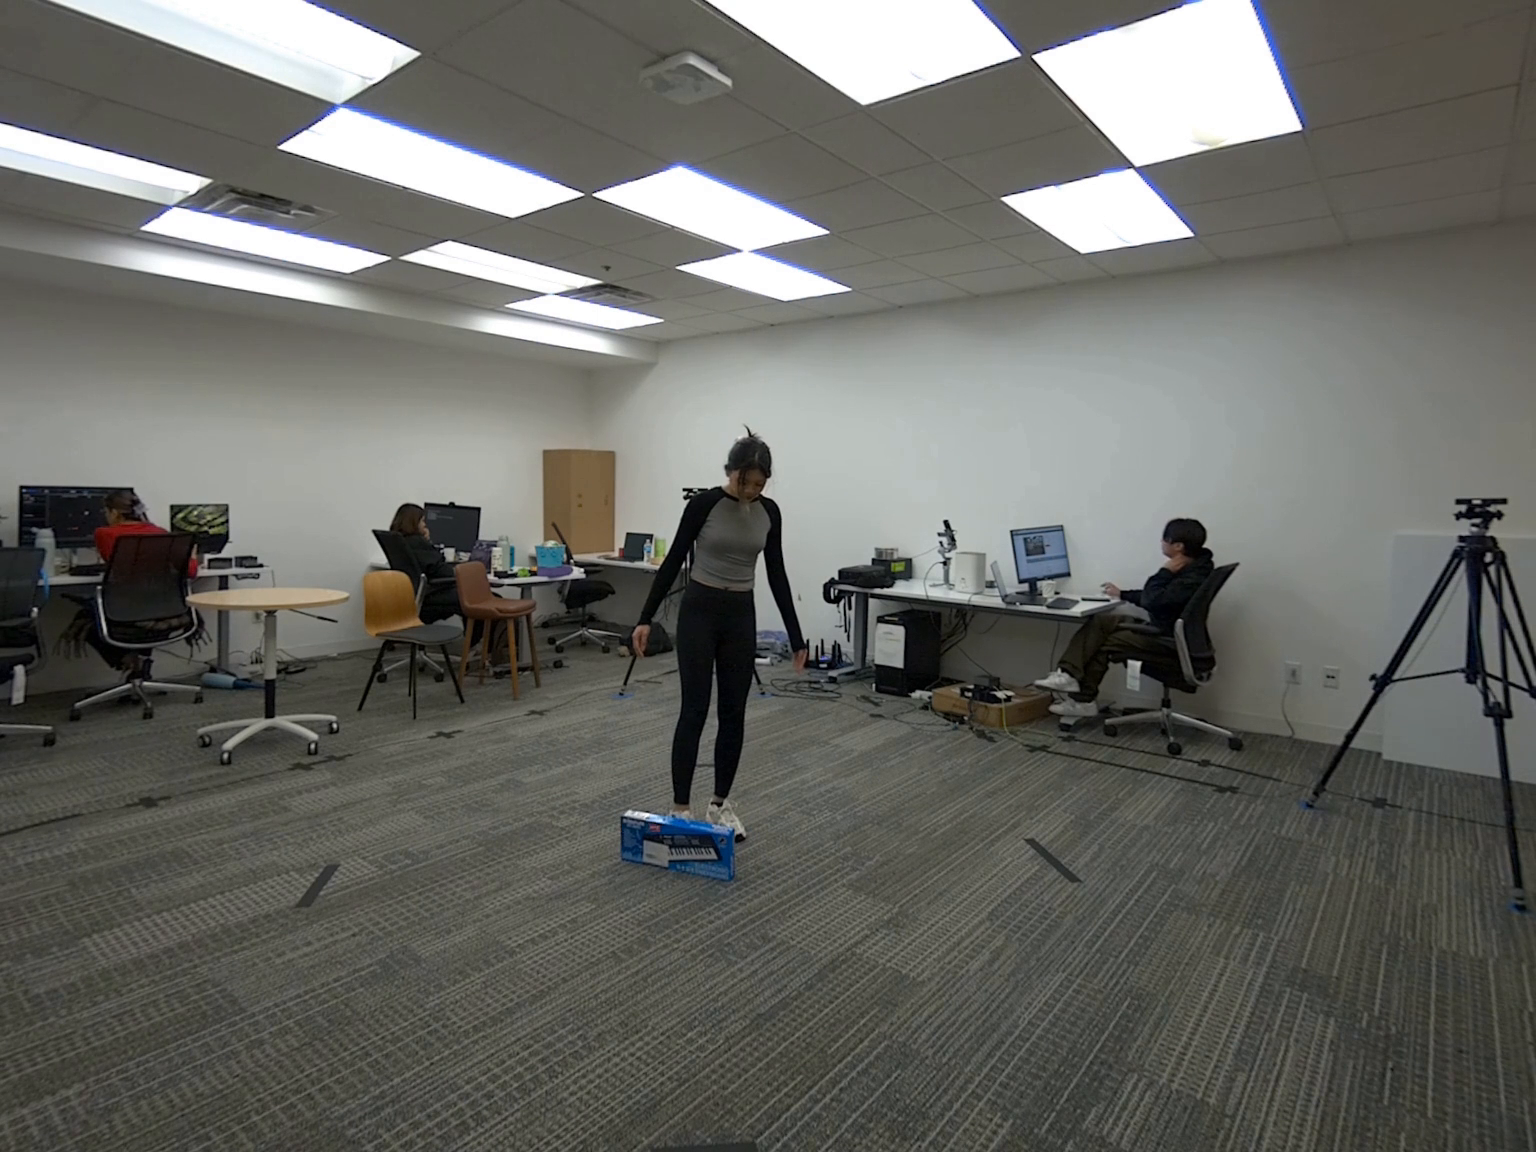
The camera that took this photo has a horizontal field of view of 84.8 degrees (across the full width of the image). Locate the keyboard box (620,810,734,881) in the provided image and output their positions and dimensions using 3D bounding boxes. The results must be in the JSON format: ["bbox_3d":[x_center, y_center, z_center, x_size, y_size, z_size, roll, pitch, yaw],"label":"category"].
[{"bbox_3d":[-0.343,0.979,3.108,0.447,0.175,0.058,3,8,21],"label":"keyboard box"}]
